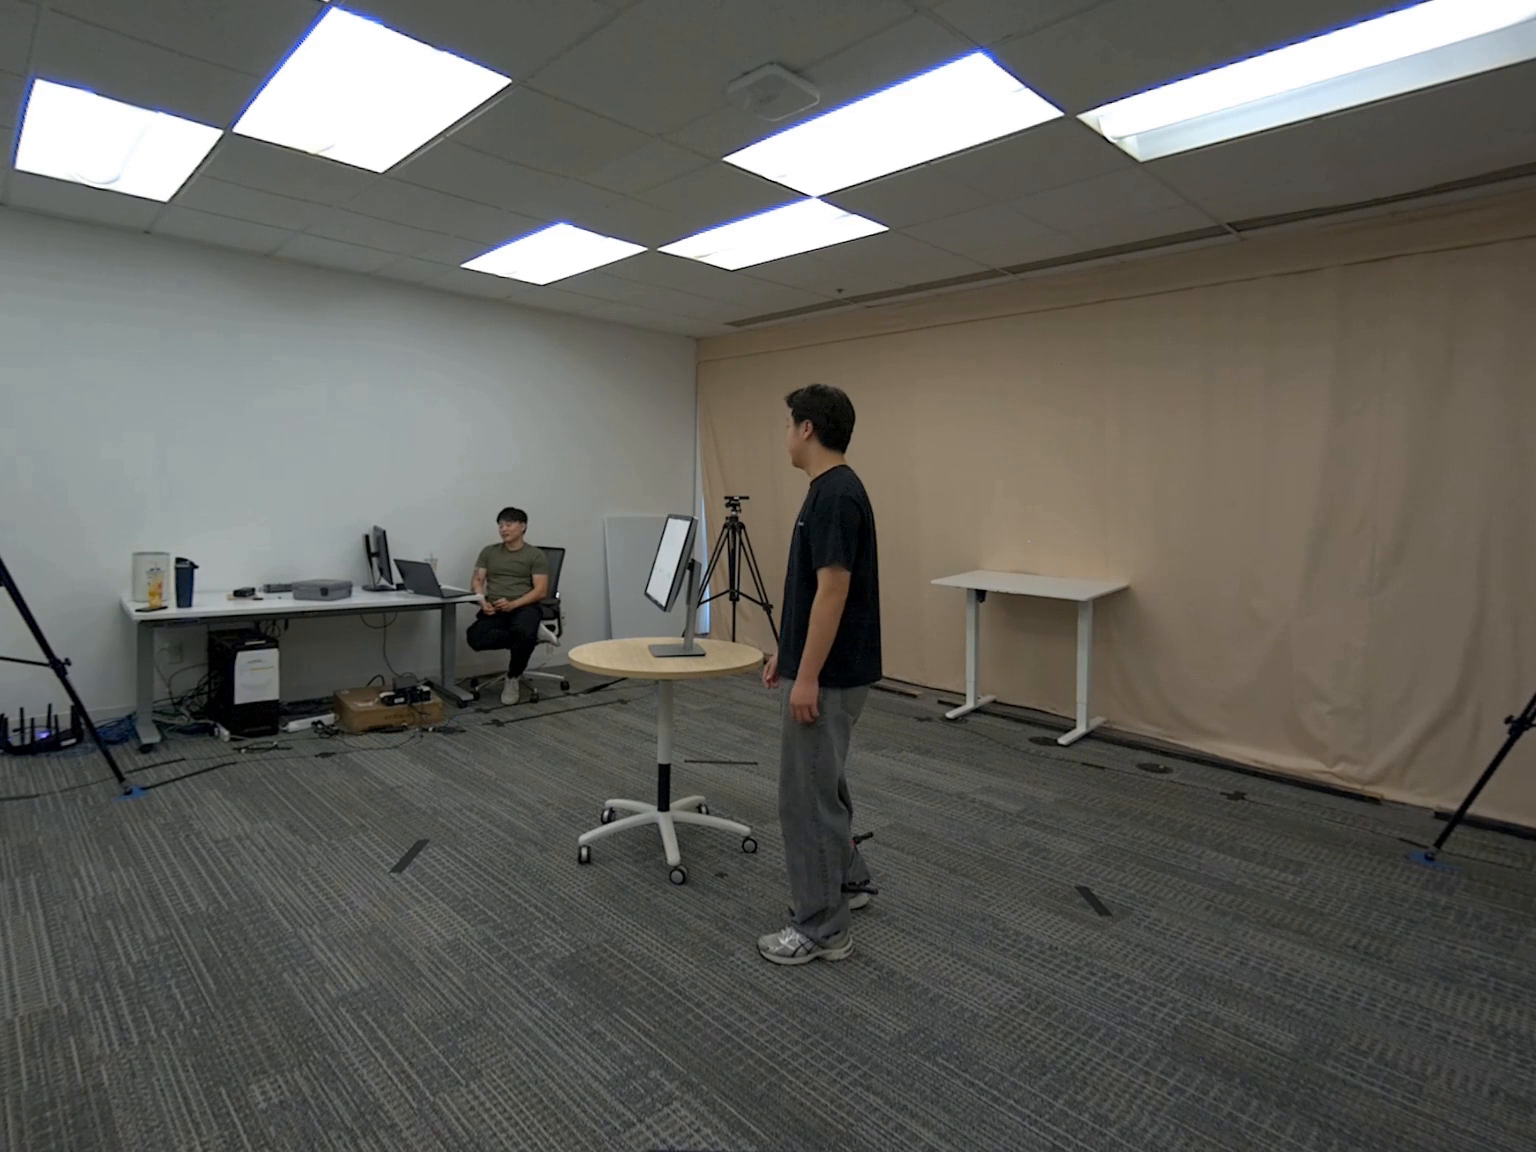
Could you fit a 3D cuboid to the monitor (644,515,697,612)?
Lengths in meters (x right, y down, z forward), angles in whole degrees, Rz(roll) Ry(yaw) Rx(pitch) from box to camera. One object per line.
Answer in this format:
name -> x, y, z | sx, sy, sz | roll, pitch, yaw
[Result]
monitor -> -0.376, 0.039, 3.344 | 0.220, 0.565, 0.568 | 0, 4, -12
